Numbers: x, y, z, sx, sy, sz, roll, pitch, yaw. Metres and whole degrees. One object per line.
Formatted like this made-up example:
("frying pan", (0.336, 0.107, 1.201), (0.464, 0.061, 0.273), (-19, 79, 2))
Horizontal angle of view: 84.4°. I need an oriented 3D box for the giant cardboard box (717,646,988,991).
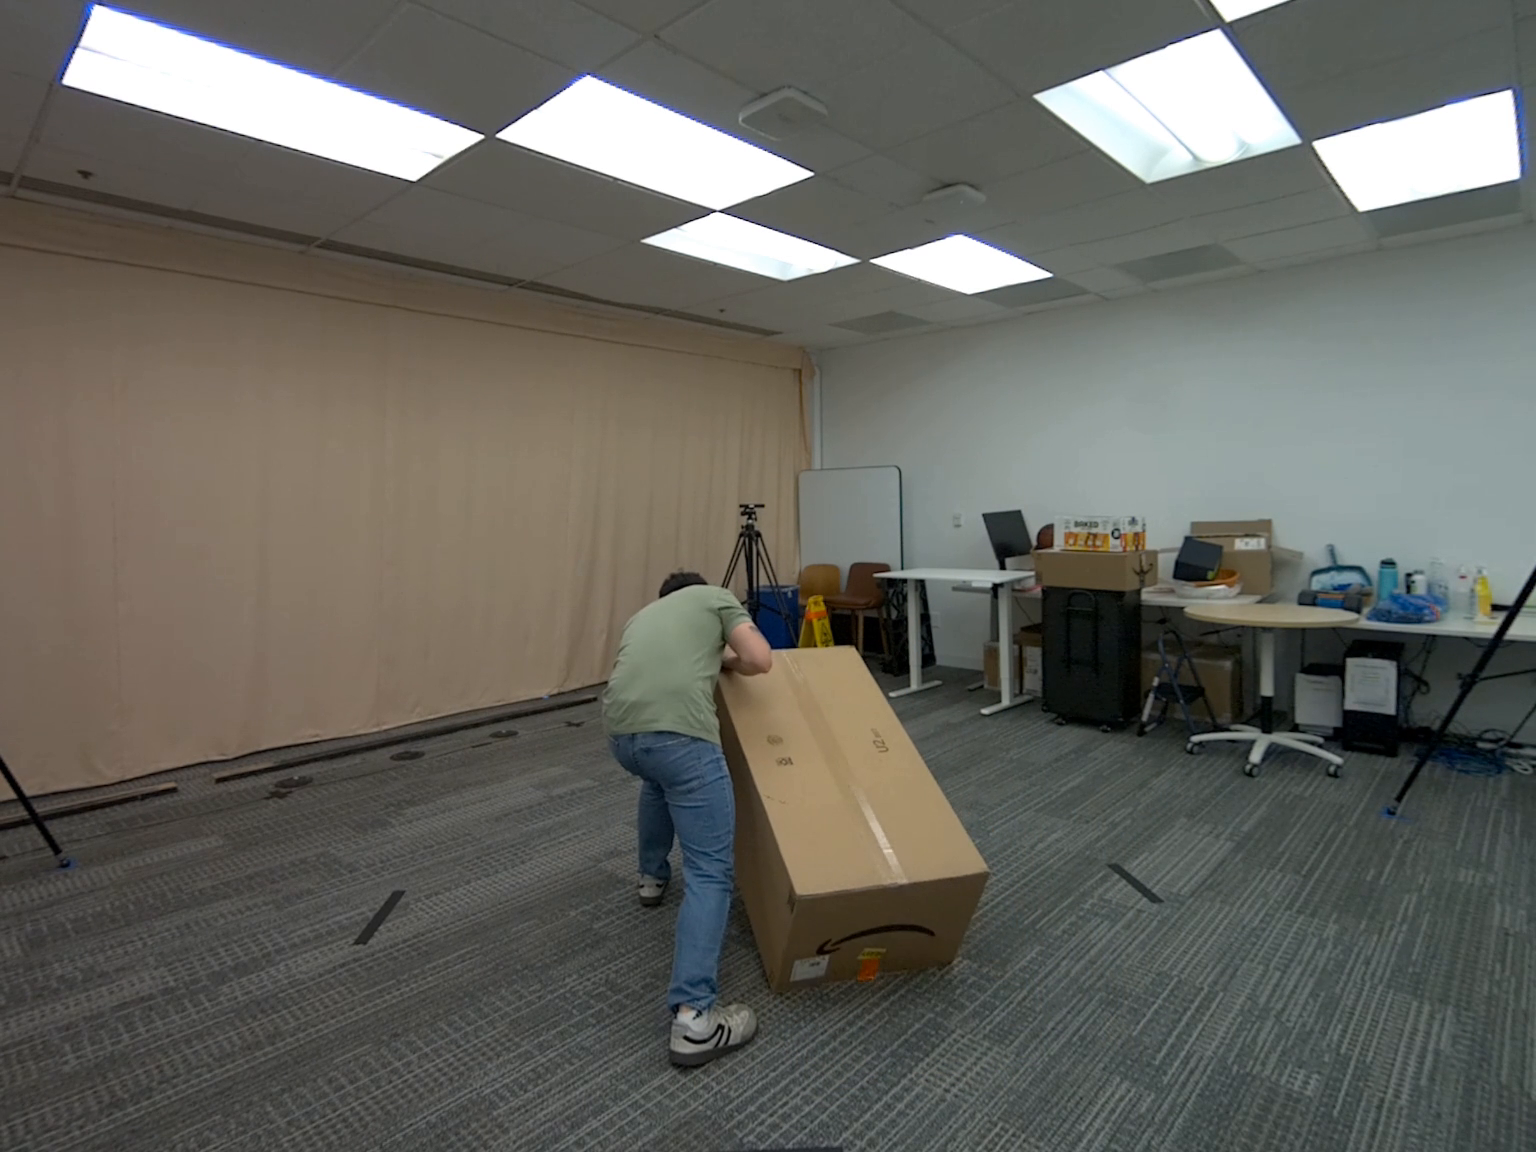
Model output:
("giant cardboard box", (0.184, 0.729, 2.772), (0.568, 0.421, 1.056), (-3, 33, -17))
